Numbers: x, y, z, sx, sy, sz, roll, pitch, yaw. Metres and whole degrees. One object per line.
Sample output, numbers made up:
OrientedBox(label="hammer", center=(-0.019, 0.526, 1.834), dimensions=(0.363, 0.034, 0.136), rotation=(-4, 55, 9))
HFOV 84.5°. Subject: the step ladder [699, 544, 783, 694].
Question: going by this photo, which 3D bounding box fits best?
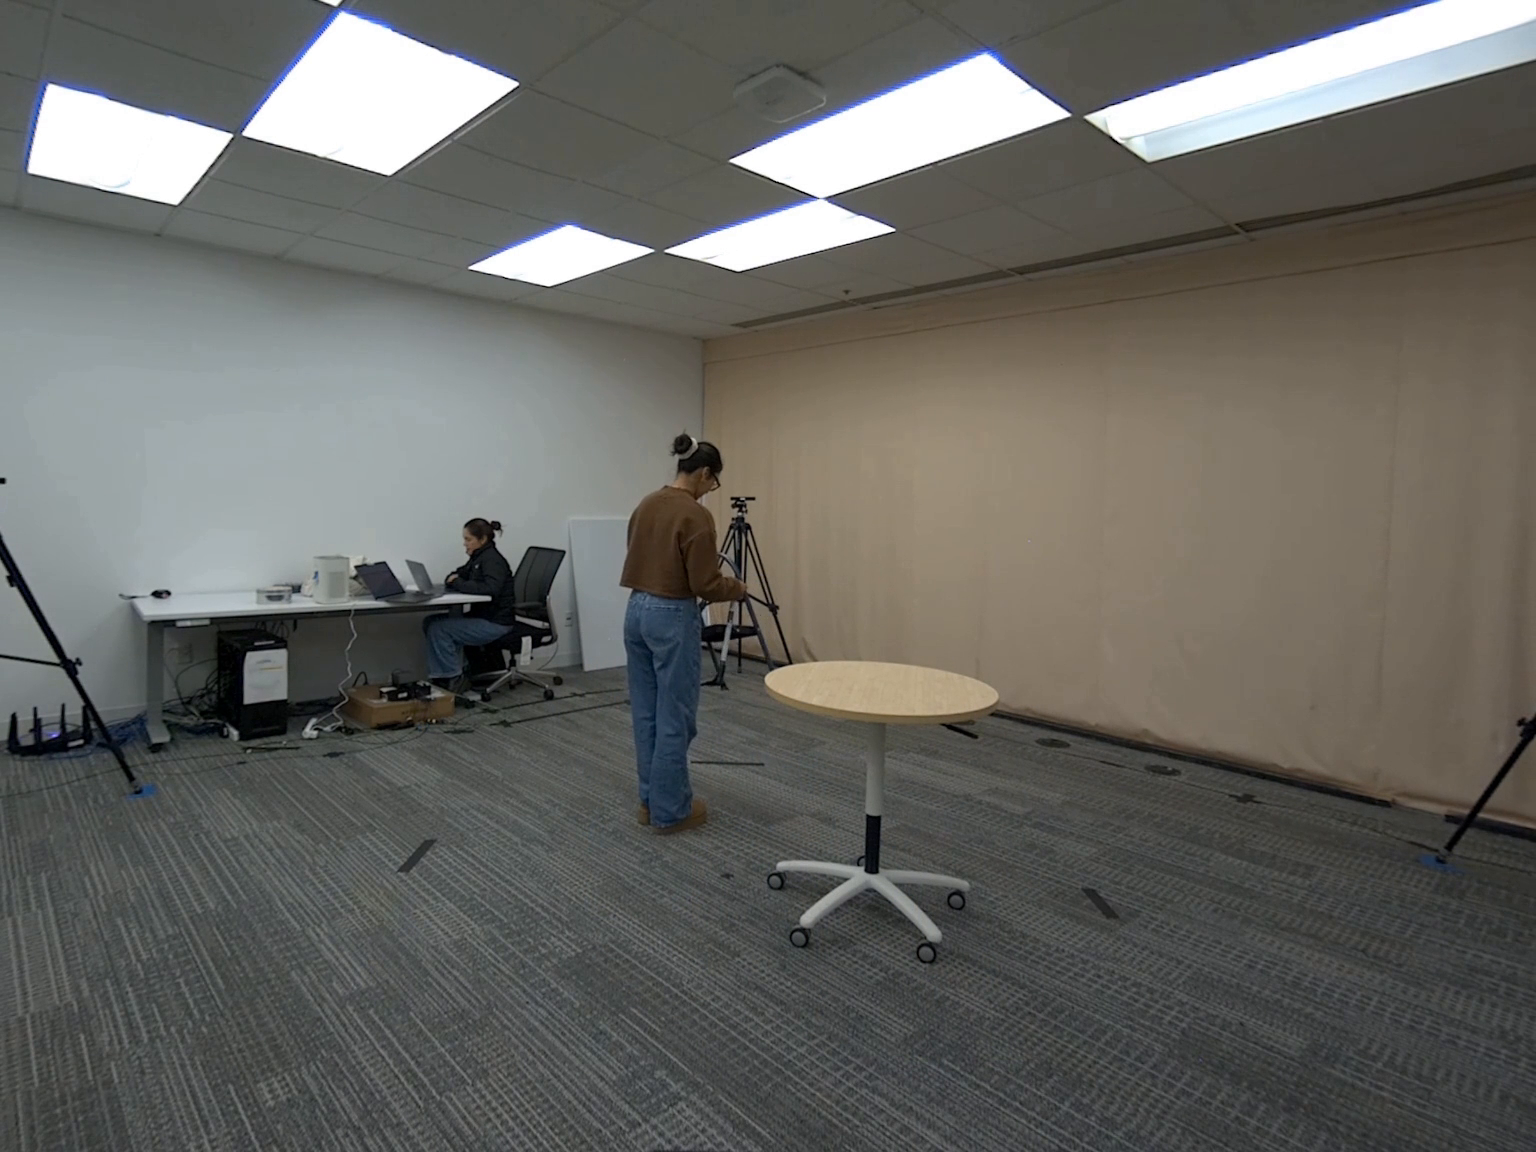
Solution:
OrientedBox(label="step ladder", center=(-0.224, 0.210, 3.845), dimensions=(0.340, 0.612, 0.437), rotation=(7, -15, -37))
